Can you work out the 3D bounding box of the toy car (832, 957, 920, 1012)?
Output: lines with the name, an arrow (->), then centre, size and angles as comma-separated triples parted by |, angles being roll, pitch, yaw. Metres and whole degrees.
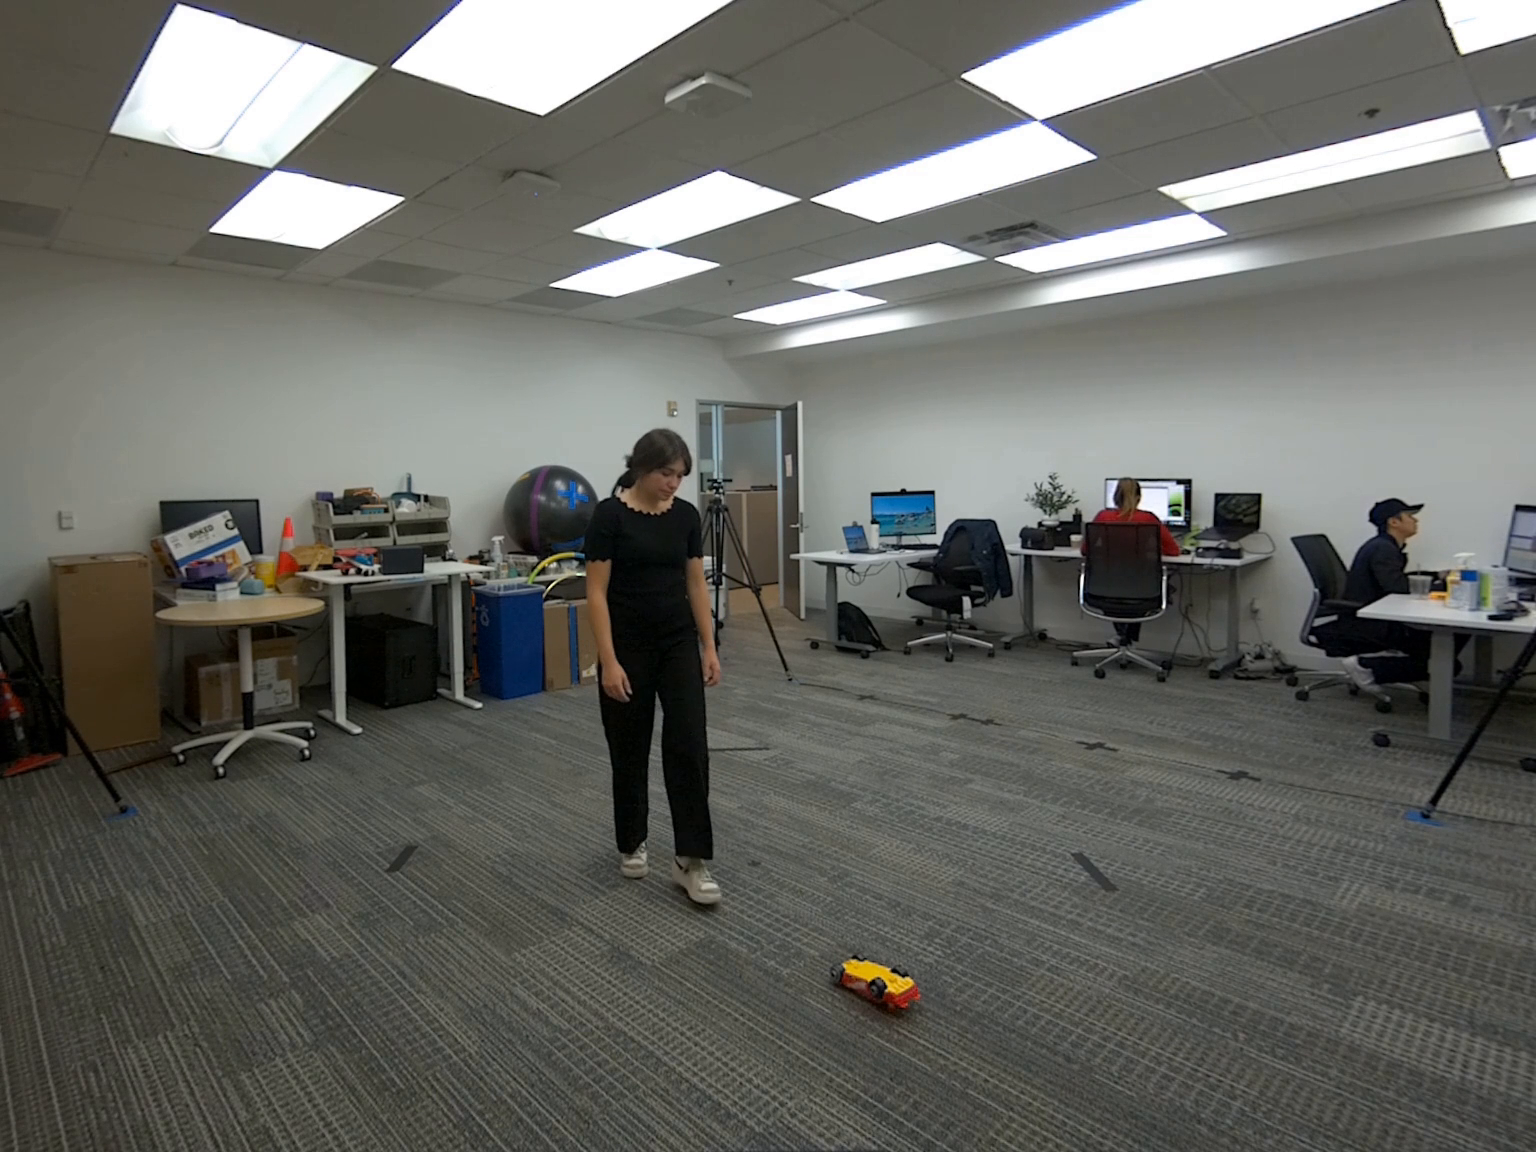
toy car -> 0.297, 1.094, 2.300 | 0.127, 0.083, 0.262 | -6, 8, -40
